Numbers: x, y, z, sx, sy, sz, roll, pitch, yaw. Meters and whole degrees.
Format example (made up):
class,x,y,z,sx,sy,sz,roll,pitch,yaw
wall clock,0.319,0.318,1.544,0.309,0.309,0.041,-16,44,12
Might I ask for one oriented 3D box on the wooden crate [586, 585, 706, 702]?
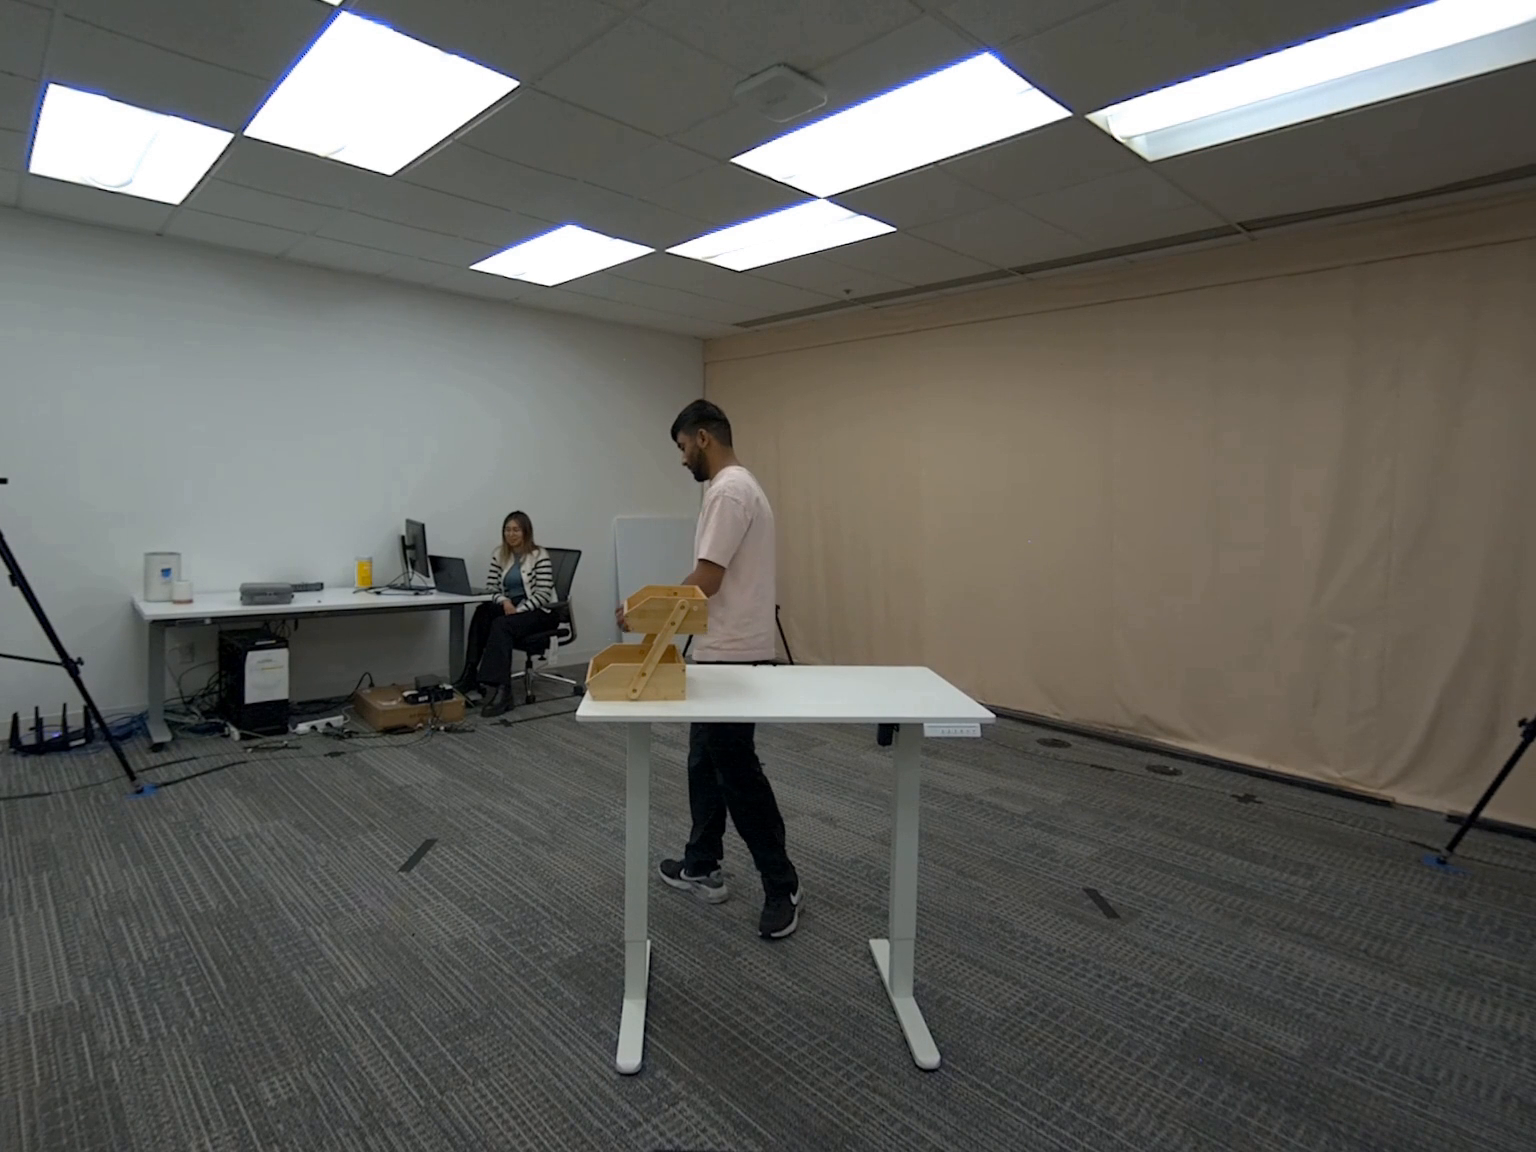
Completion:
class,x,y,z,sx,sy,sz,roll,pitch,yaw
wooden crate,-0.346,0.173,2.241,0.301,0.272,0.327,0,5,-6
